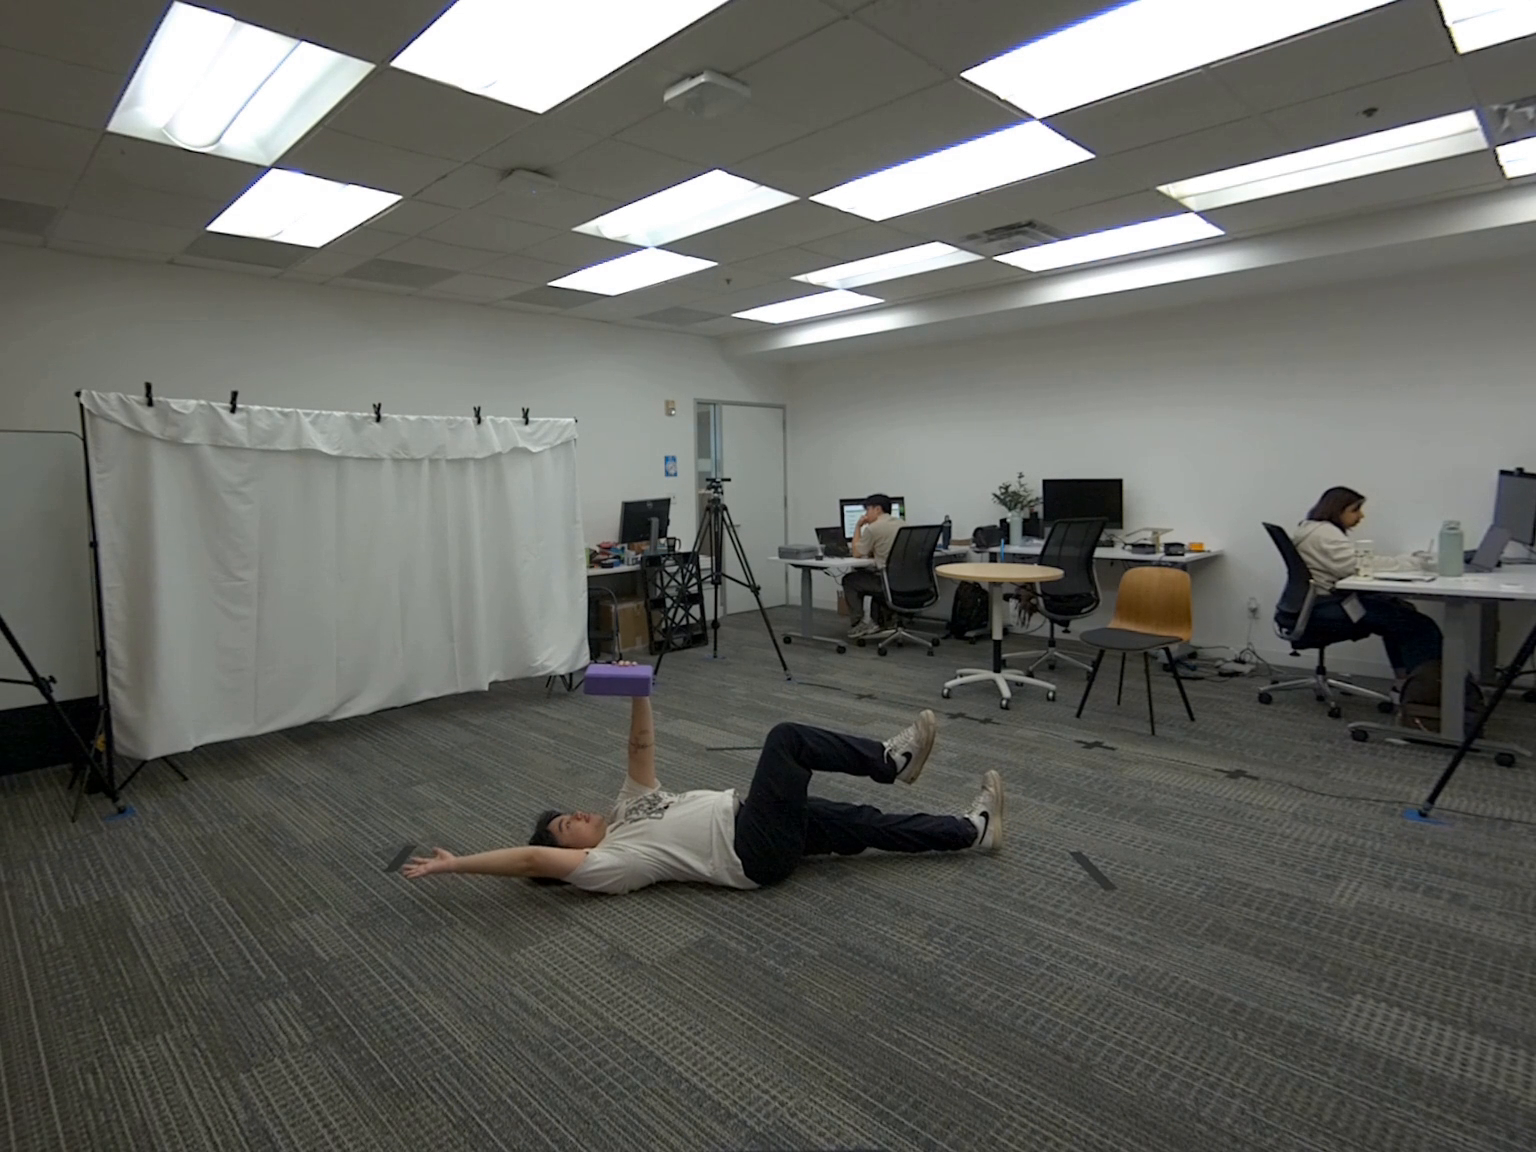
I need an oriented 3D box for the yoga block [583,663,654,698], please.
[{"bbox_3d":[-0.530,0.365,2.988,0.229,0.076,0.150,3,7,0],"label":"yoga block"}]
